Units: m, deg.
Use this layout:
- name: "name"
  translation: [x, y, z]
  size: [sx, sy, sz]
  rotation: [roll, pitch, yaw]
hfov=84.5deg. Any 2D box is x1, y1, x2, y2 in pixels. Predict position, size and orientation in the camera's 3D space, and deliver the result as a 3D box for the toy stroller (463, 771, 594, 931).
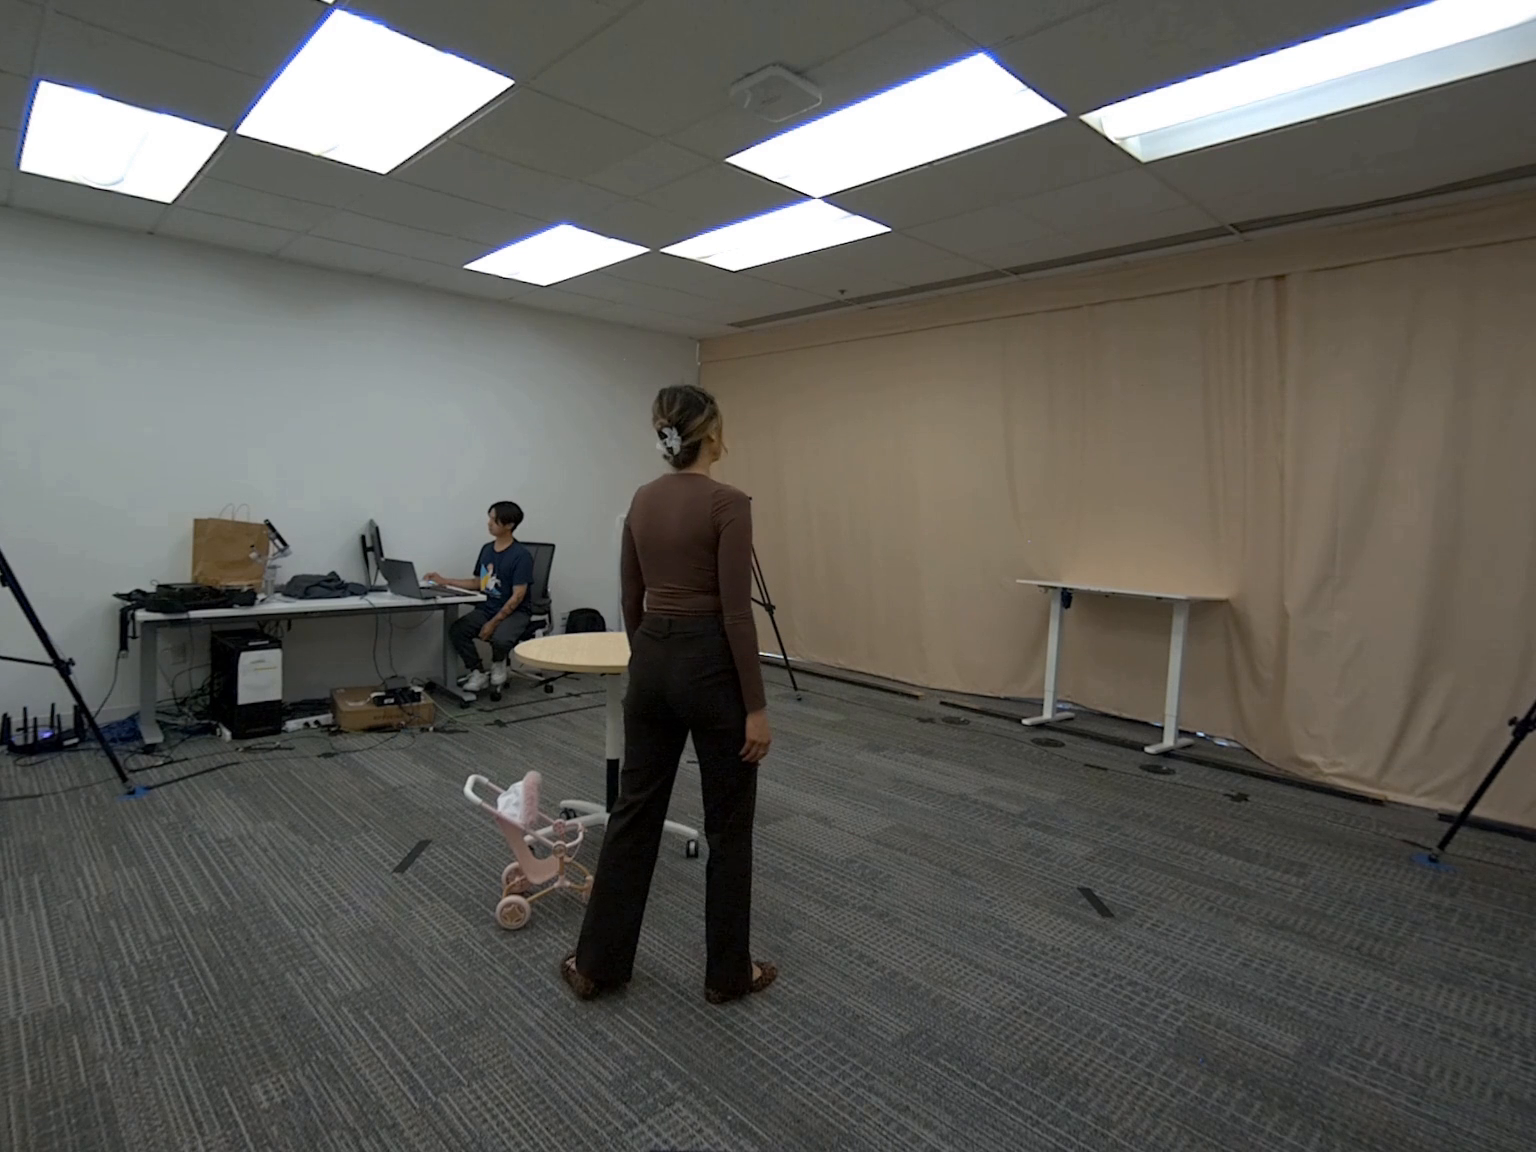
- name: "toy stroller"
  translation: [-0.779, 0.892, 2.807]
  size: [0.340, 0.532, 0.284]
  rotation: [-14, 6, -6]
